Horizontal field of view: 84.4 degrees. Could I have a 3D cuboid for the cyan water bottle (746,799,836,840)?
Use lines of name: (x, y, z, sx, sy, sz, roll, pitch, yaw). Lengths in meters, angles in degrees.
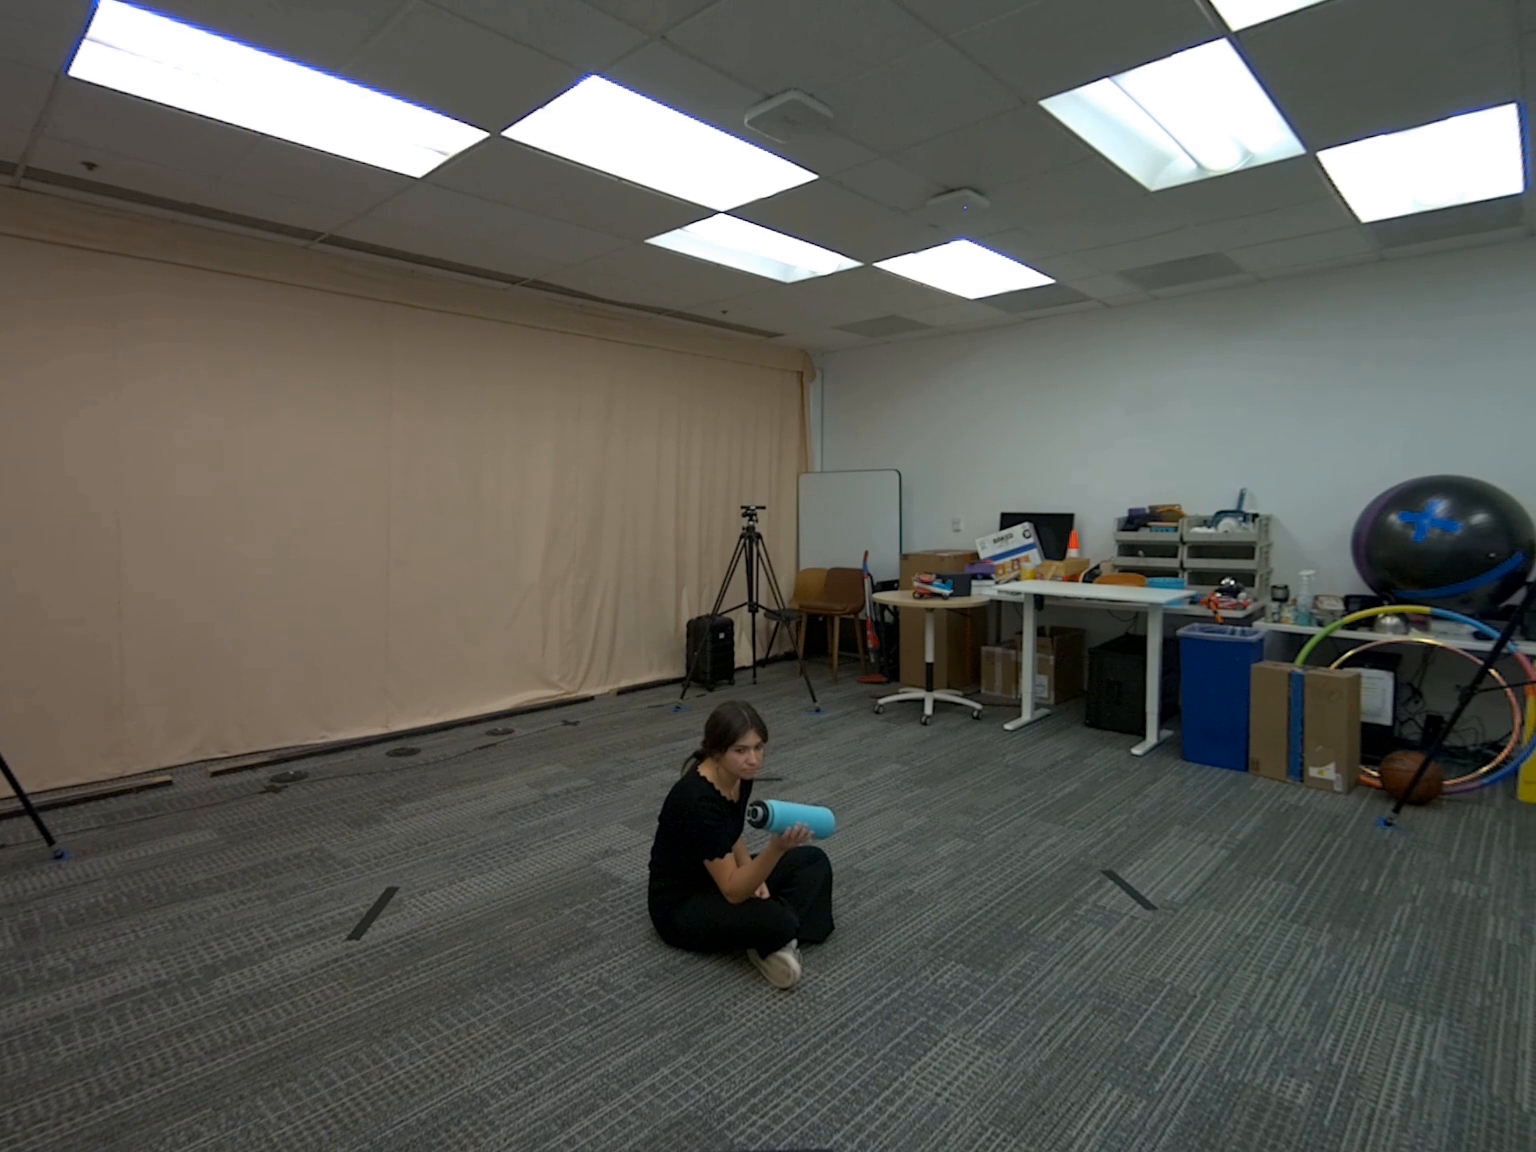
cyan water bottle: (0.066, 0.697, 2.415, 0.274, 0.092, 0.095, 18, -7, -34)
